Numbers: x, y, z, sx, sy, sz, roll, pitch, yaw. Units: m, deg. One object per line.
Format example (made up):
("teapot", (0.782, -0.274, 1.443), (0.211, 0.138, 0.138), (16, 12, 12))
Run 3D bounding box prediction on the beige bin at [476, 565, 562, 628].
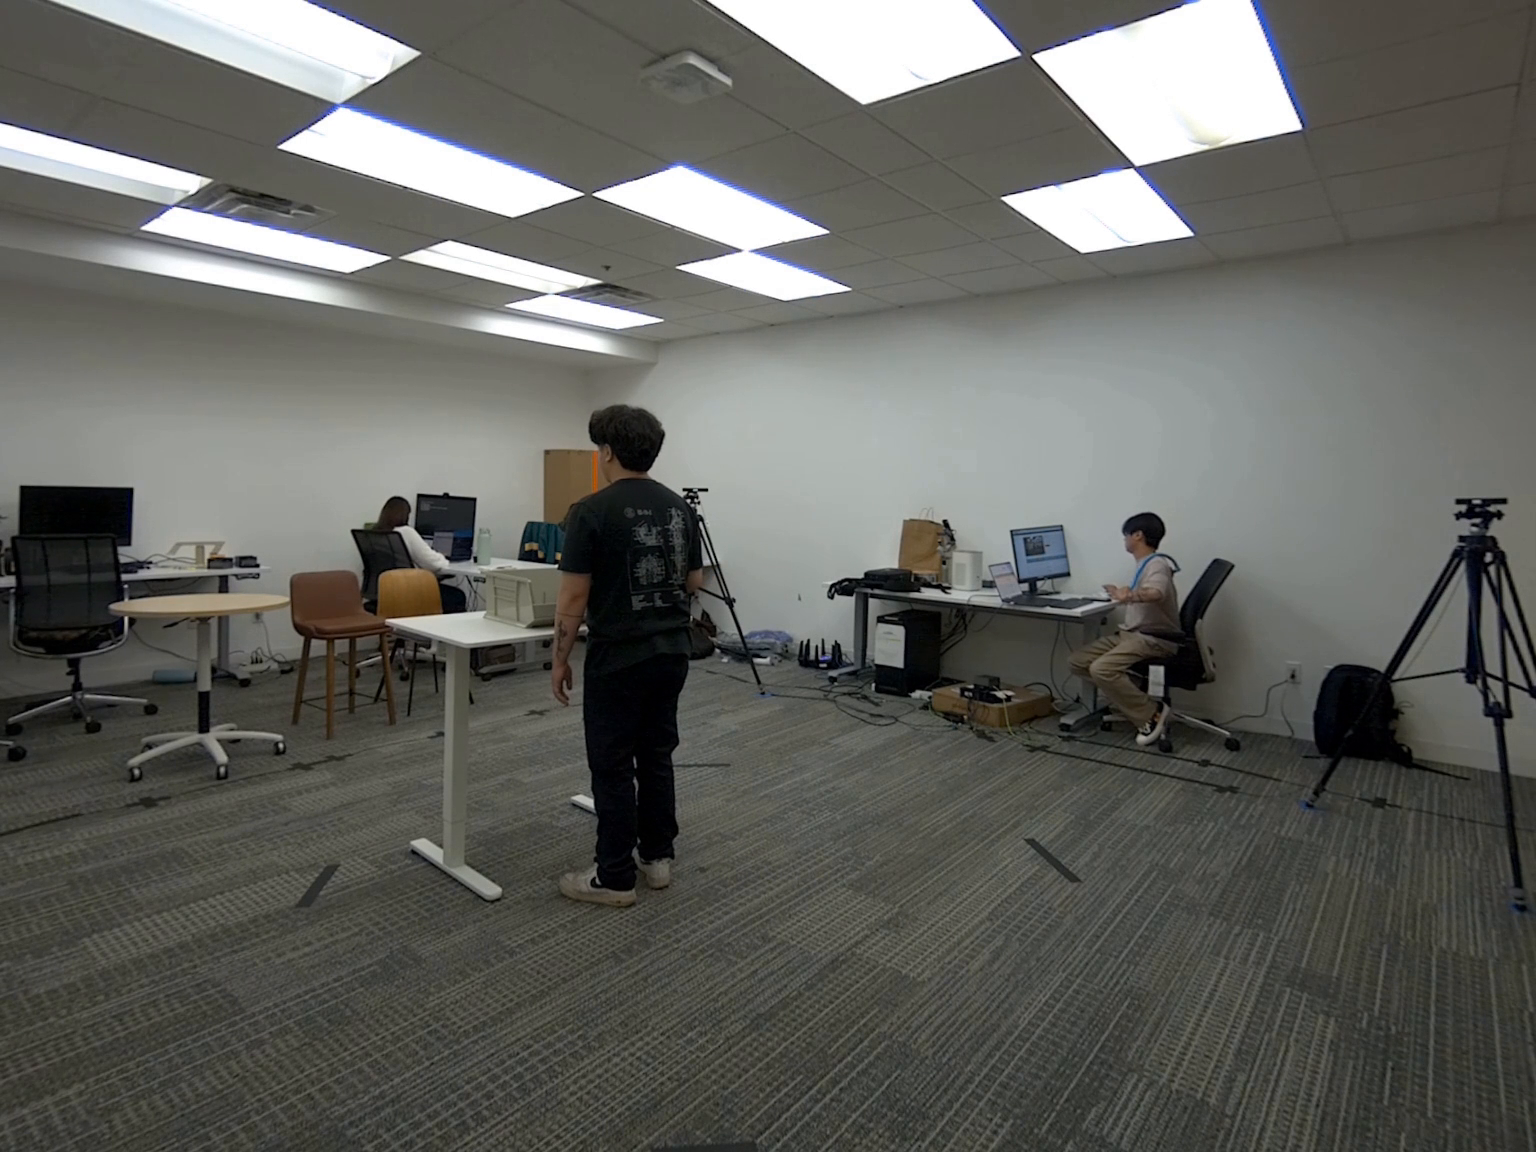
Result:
("beige bin", (-0.822, 0.075, 3.249), (0.410, 0.188, 0.390), (-4, 7, -43))
